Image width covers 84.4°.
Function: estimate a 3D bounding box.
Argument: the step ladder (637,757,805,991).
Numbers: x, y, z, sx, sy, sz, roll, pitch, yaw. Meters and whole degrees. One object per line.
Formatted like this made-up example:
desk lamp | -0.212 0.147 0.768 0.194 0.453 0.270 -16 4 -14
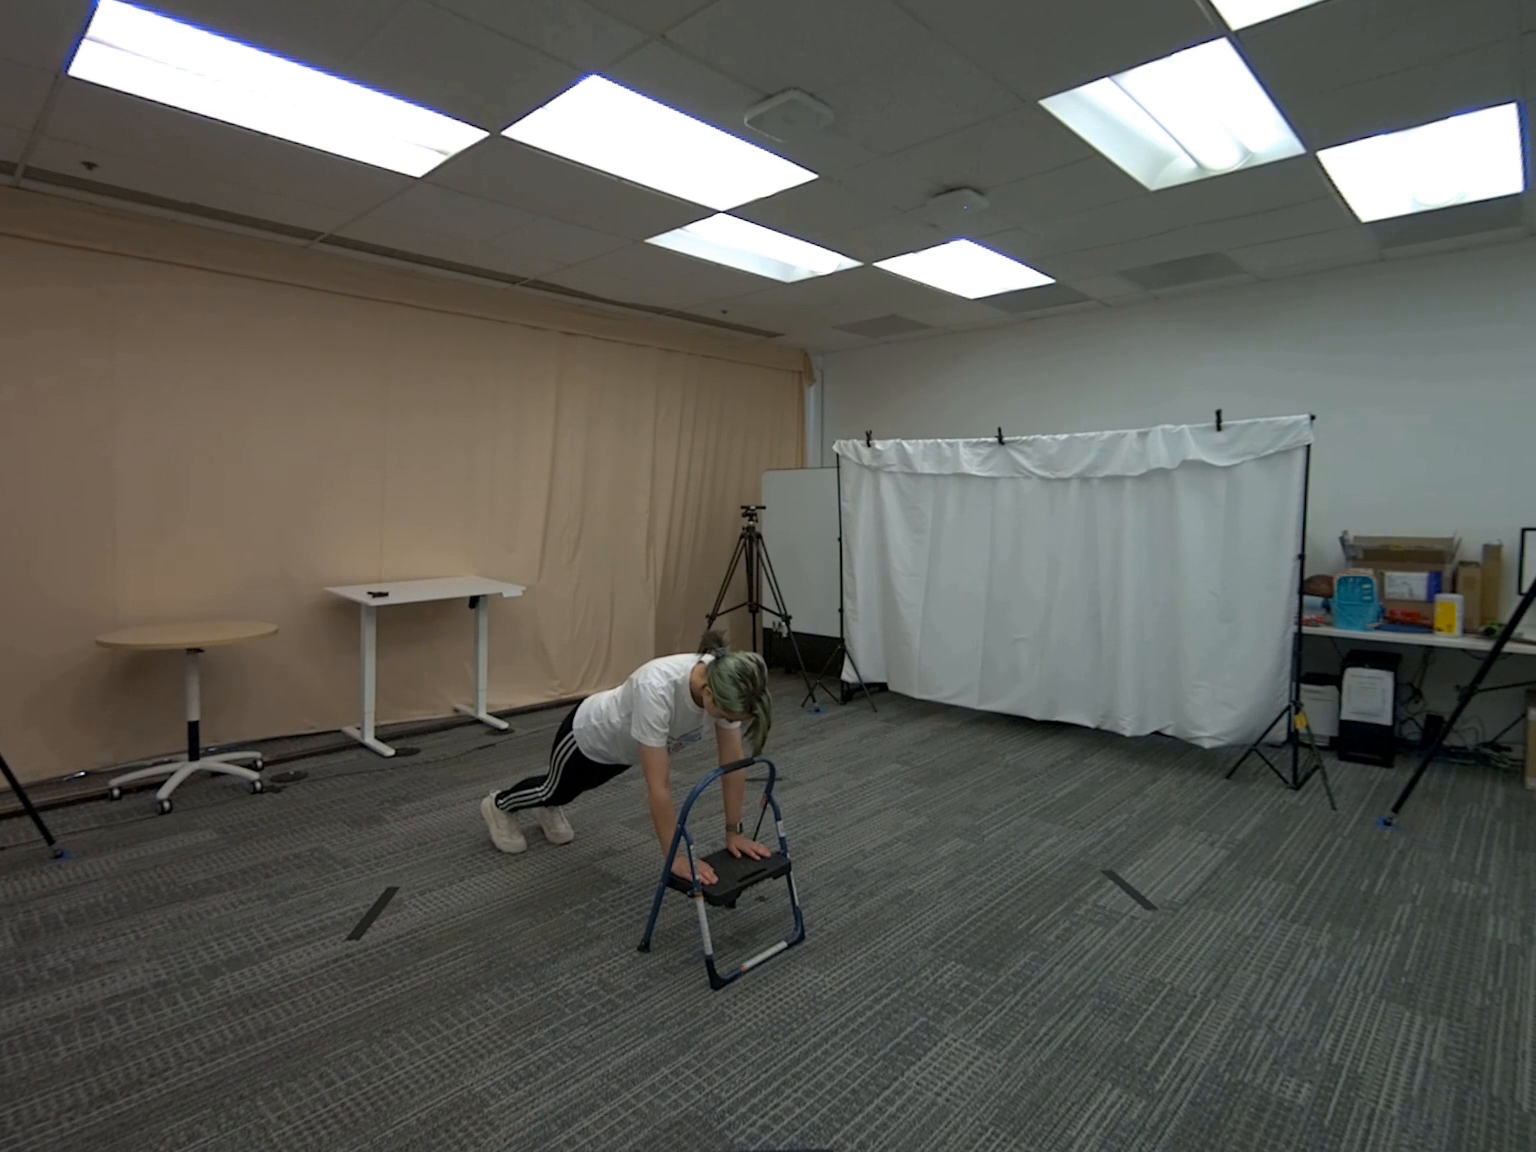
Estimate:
step ladder | -0.139 0.869 2.662 0.361 0.605 0.417 3 4 42
